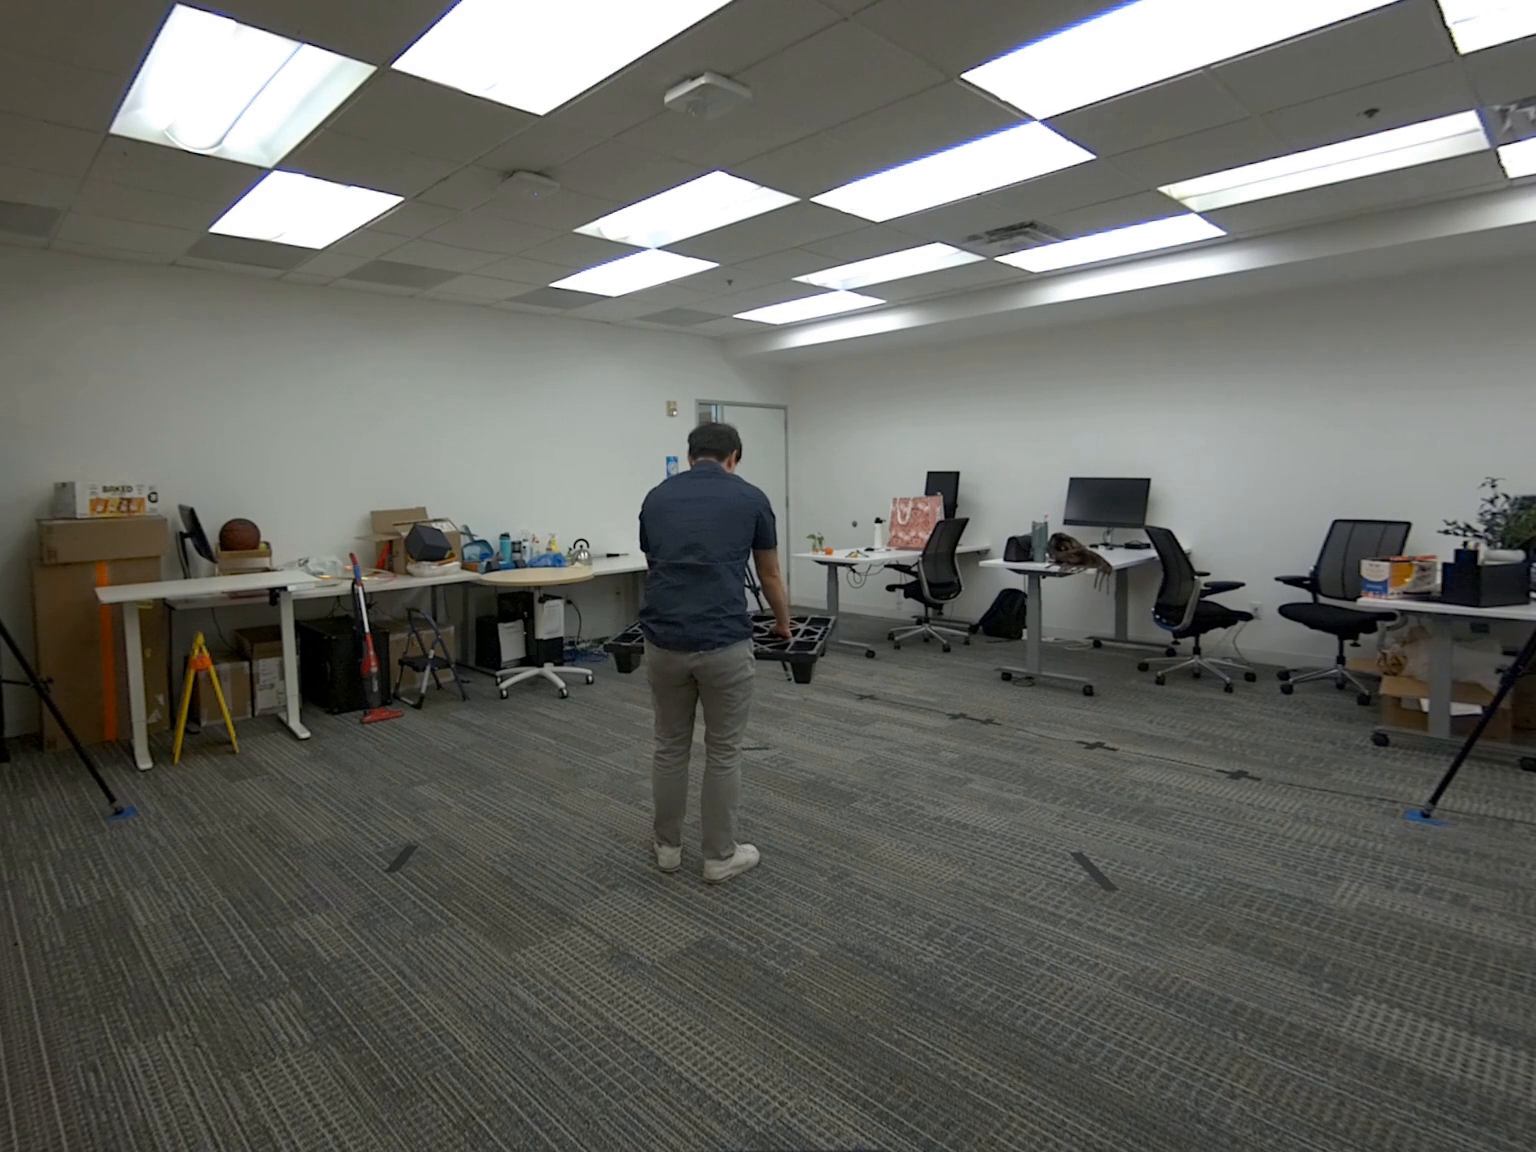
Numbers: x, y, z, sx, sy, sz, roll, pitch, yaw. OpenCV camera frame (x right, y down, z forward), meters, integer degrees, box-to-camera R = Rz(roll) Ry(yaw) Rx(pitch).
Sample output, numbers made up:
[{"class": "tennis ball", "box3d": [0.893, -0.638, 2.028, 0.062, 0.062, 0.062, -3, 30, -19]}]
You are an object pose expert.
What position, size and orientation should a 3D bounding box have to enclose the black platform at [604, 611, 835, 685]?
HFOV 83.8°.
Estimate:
[{"class": "black platform", "box3d": [-0.161, 0.279, 3.359, 0.817, 0.142, 0.601, 2, 11, 14]}]
